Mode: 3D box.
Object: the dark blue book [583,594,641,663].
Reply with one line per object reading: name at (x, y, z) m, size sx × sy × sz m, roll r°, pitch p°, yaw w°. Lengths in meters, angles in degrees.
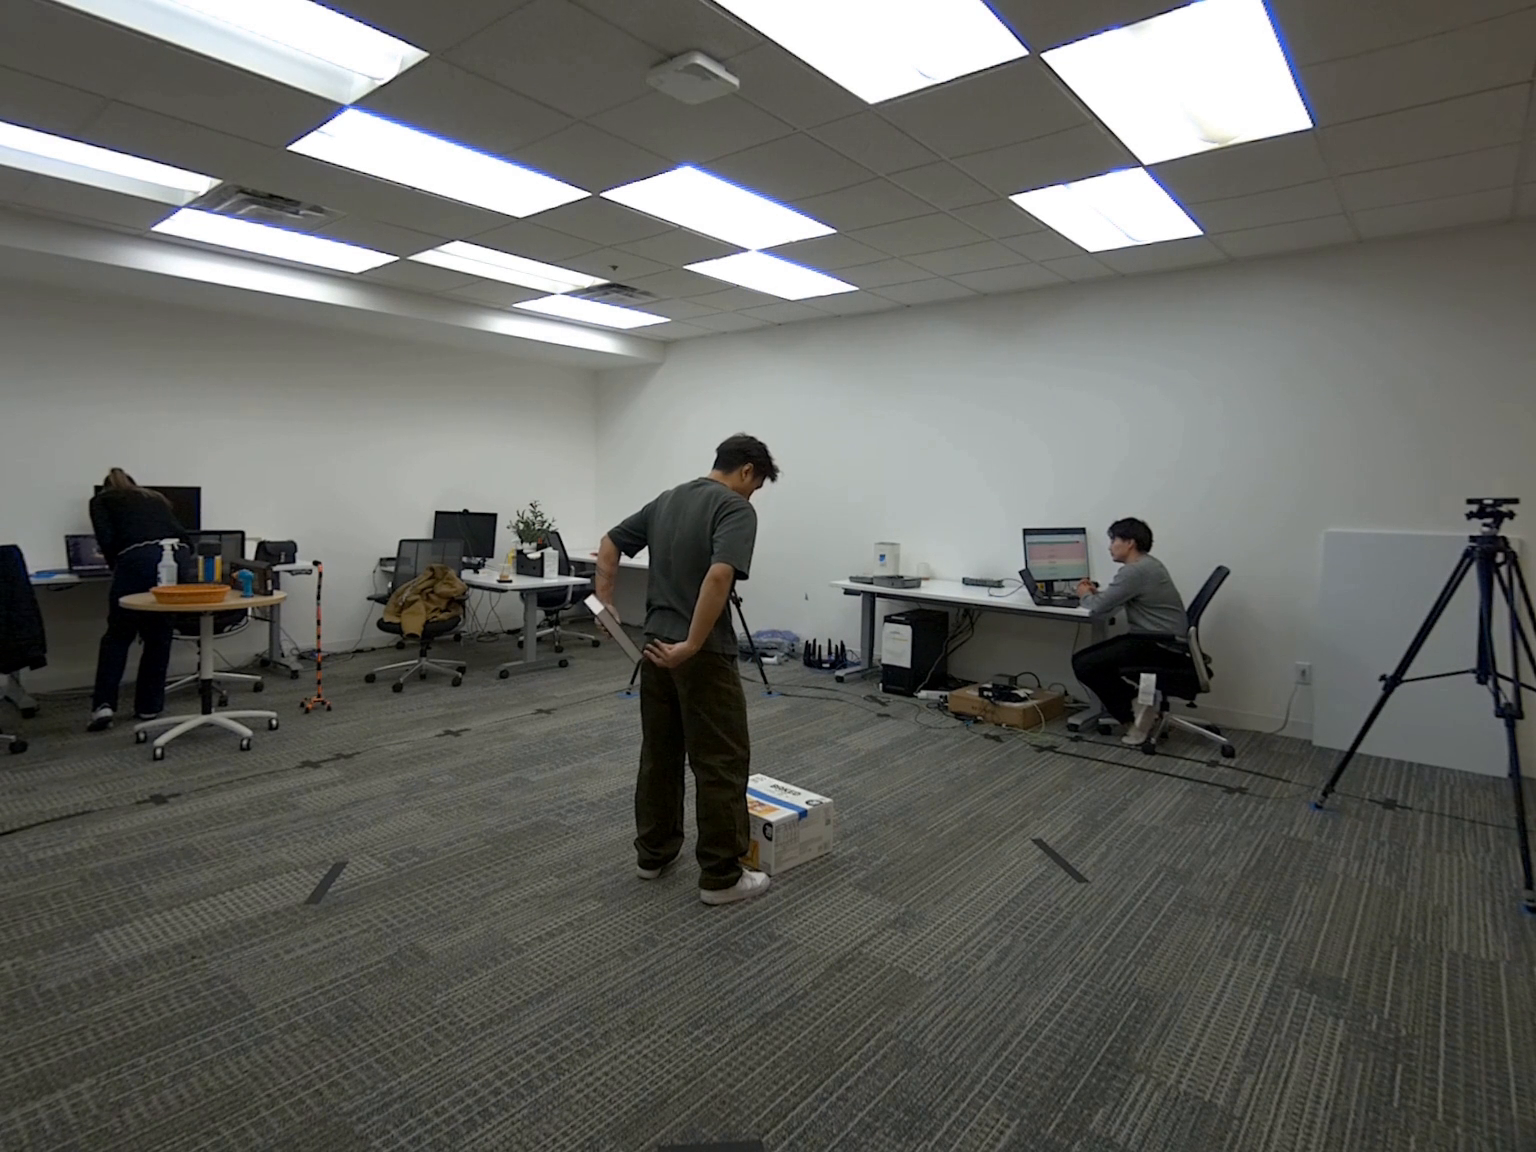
dark blue book at (-0.550, 0.177, 2.944) m, size 0.045 × 0.237 × 0.169 m, roll -39°, pitch 26°, yaw -11°
